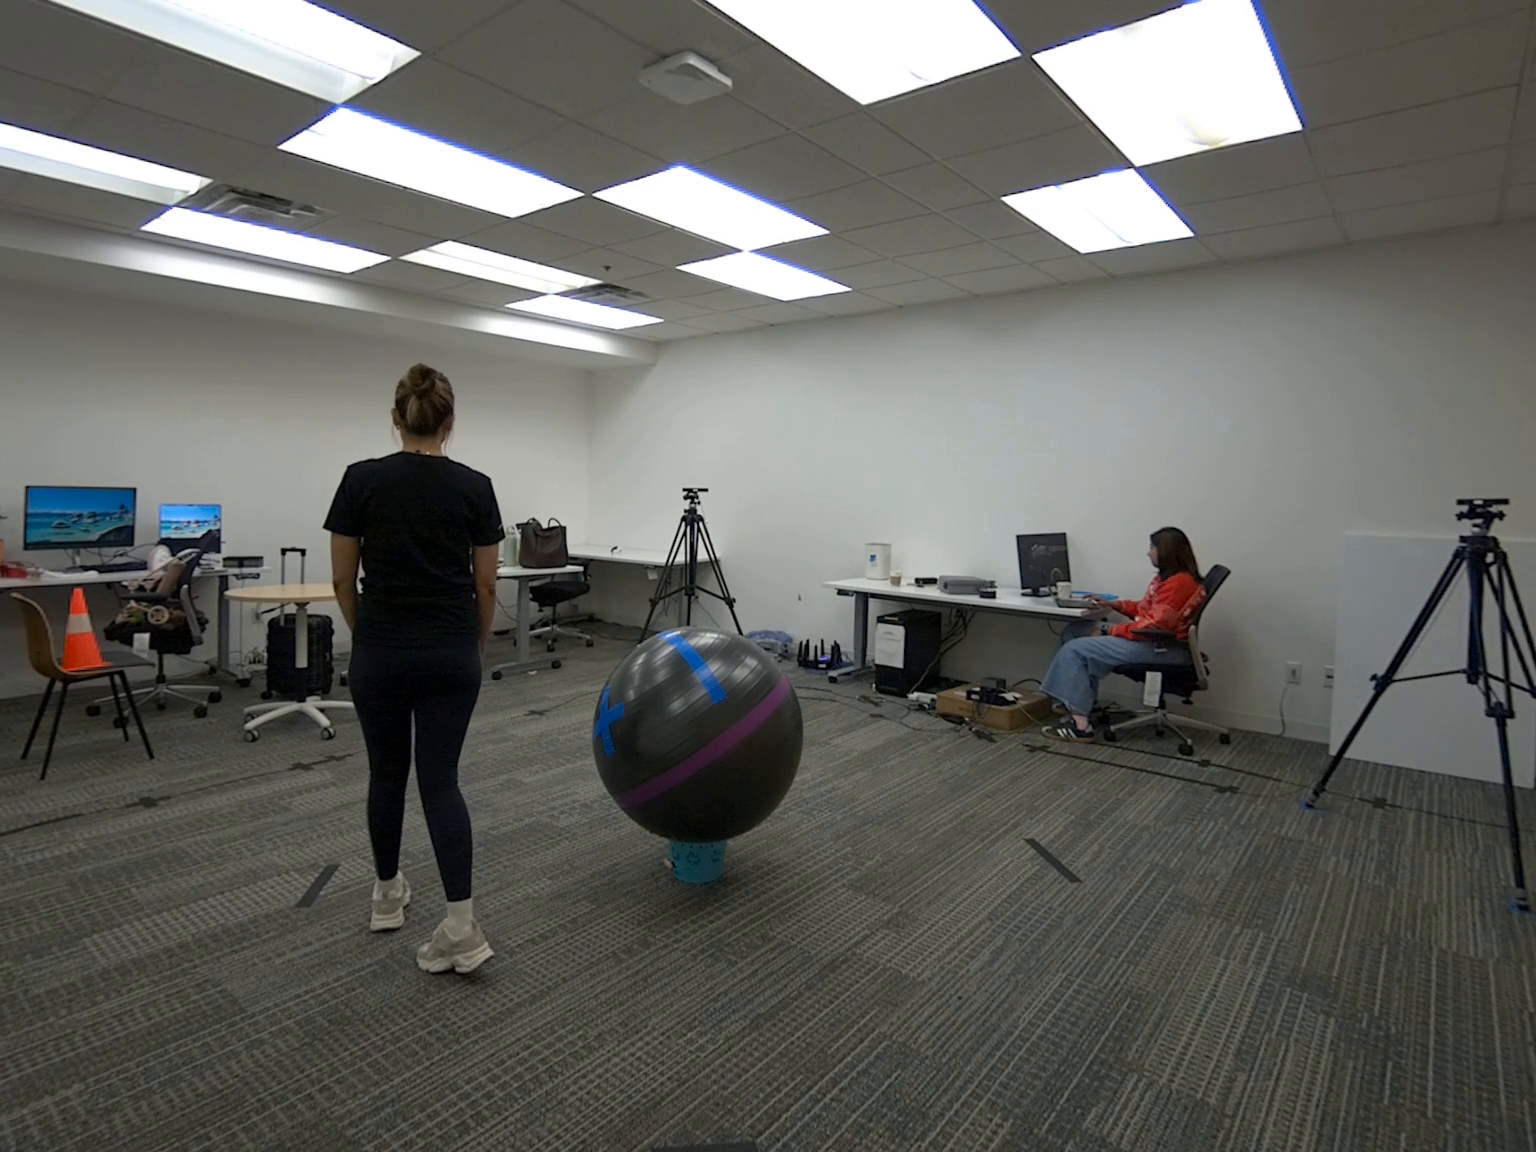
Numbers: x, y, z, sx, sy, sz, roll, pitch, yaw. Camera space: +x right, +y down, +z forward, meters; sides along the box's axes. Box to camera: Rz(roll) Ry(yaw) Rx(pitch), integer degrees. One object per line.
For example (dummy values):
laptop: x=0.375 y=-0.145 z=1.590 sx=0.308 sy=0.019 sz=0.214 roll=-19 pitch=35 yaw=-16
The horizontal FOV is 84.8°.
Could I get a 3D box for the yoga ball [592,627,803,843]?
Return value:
yoga ball: x=-0.262 y=0.562 z=3.067 sx=0.757 sy=0.755 sz=0.762 roll=1 pitch=4 yaw=-2
